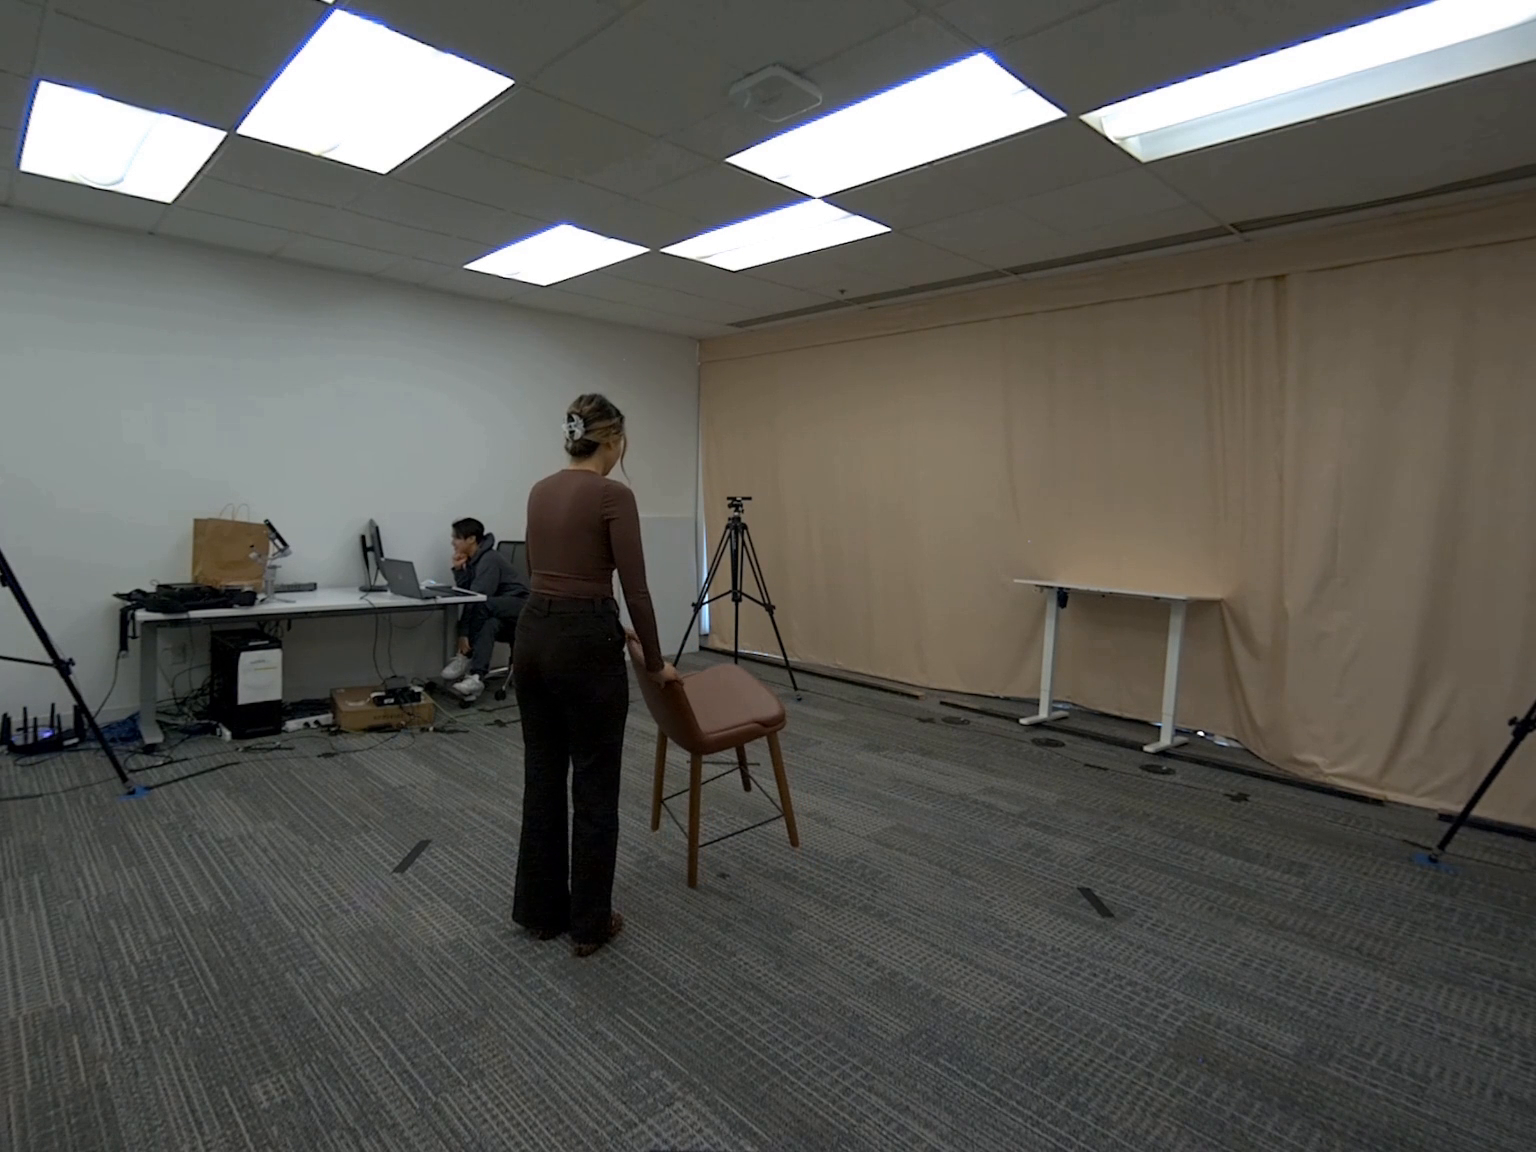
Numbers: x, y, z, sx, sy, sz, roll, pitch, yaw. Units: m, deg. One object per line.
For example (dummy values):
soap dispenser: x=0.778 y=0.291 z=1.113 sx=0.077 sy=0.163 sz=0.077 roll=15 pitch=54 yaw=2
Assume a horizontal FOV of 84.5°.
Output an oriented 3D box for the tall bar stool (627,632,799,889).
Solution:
tall bar stool: x=-0.211 y=0.606 z=3.080 sx=0.462 sy=0.875 sz=0.470 roll=-16 pitch=25 yaw=-24
